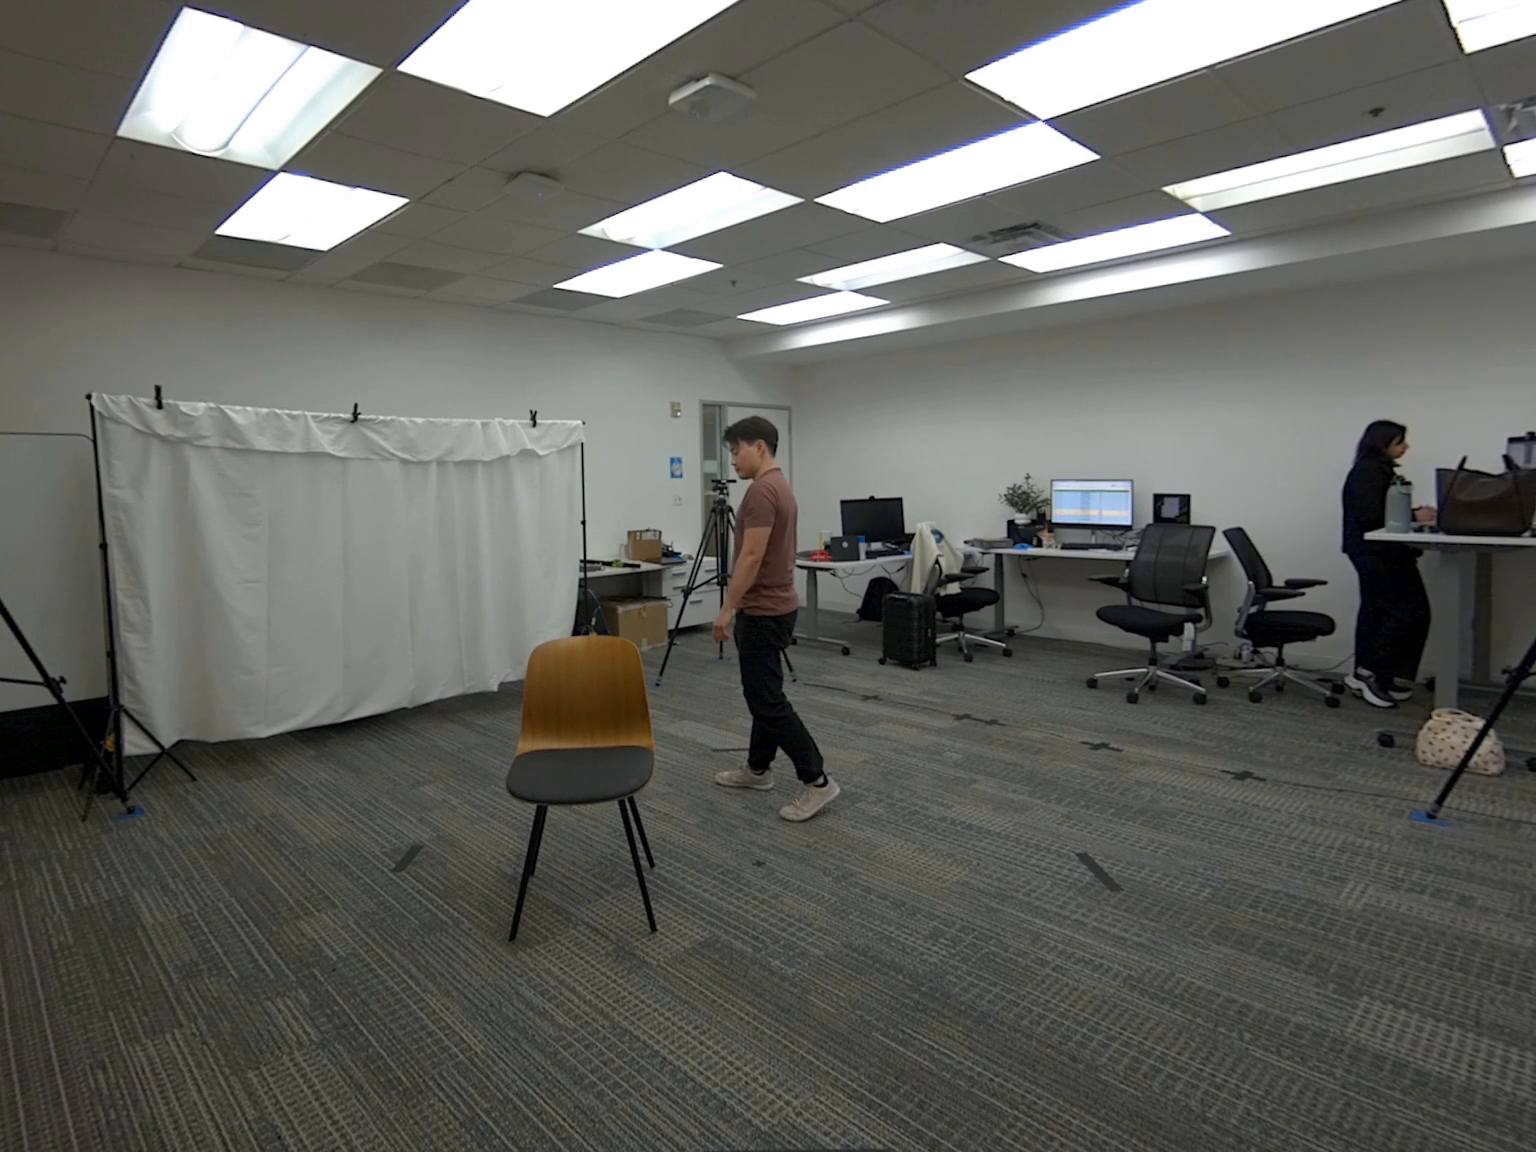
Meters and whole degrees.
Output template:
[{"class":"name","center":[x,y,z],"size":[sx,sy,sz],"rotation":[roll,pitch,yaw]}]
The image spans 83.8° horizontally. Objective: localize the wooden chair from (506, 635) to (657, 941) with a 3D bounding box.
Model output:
[{"class":"wooden chair","center":[-0.598,0.662,2.812],"size":[0.475,0.877,0.527],"rotation":[-1,0,-8]}]
